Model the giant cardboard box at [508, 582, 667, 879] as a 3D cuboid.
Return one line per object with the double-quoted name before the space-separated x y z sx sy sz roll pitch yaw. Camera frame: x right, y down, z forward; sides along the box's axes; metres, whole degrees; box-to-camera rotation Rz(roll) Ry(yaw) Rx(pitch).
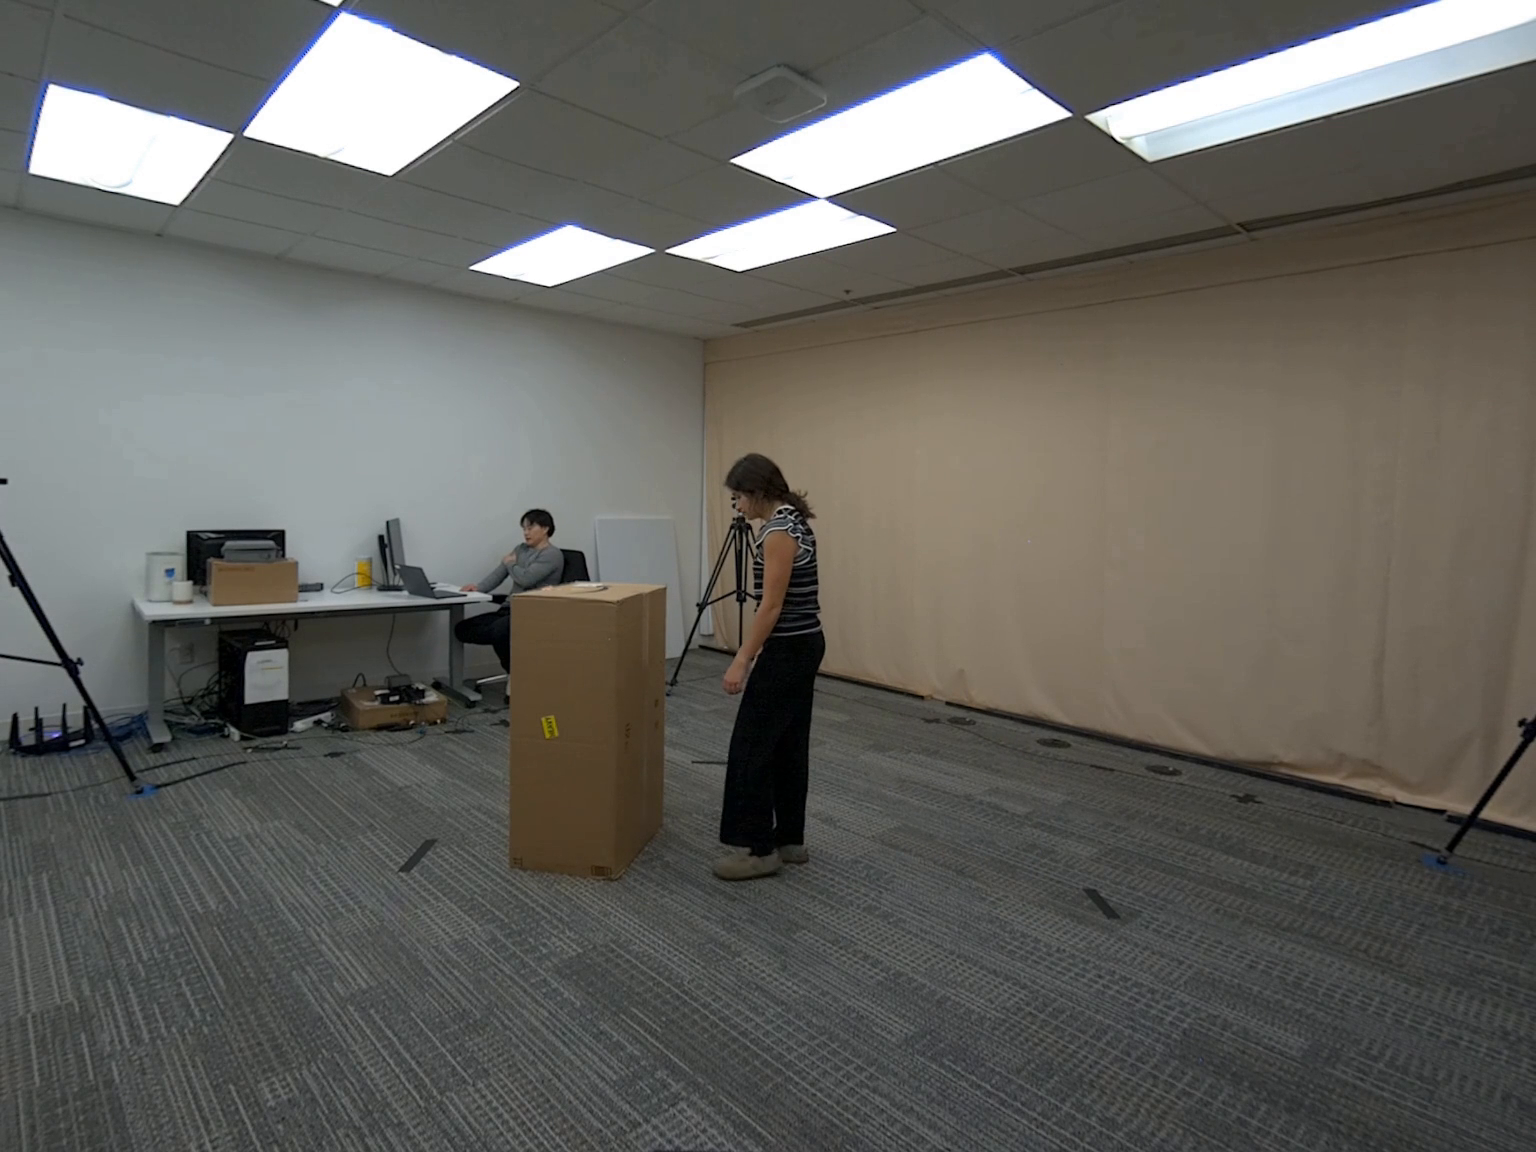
"giant cardboard box" -0.698 0.564 3.333 0.430 1.023 0.573 3 4 11
